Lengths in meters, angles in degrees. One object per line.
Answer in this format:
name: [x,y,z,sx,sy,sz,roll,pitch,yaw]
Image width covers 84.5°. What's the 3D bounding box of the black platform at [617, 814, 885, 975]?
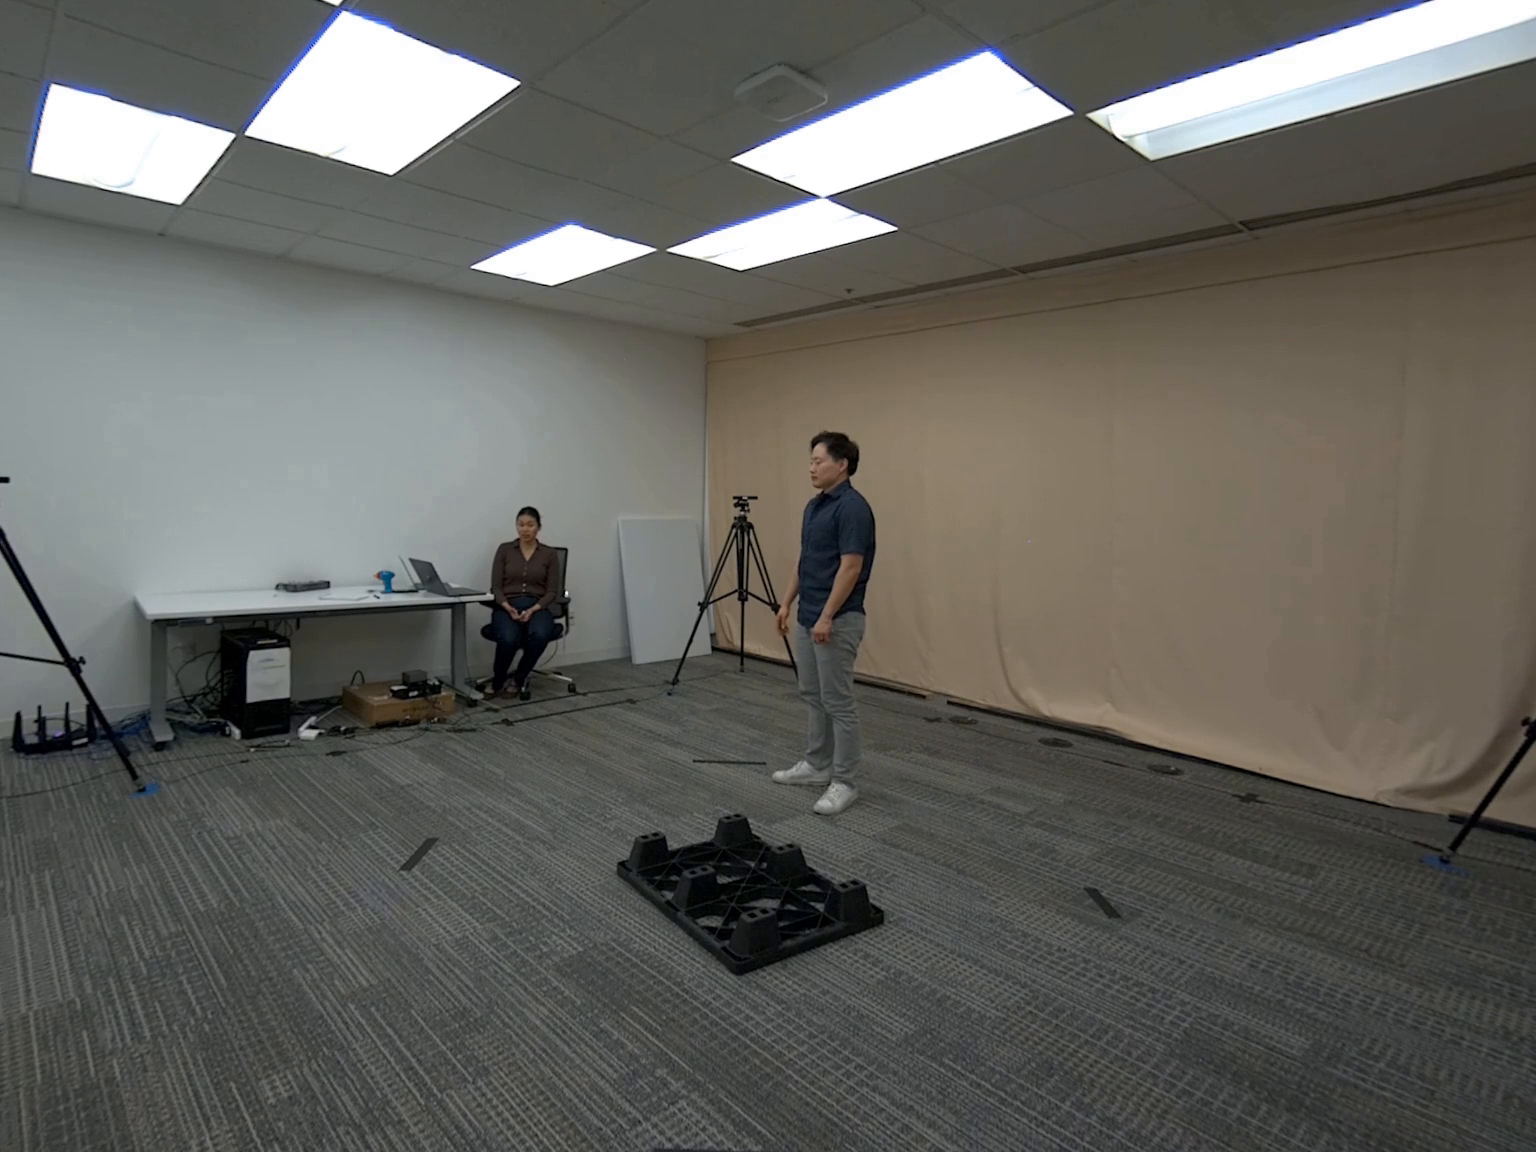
black platform: [-0.097,1.053,2.932,0.592,0.143,0.825,-2,6,-36]
